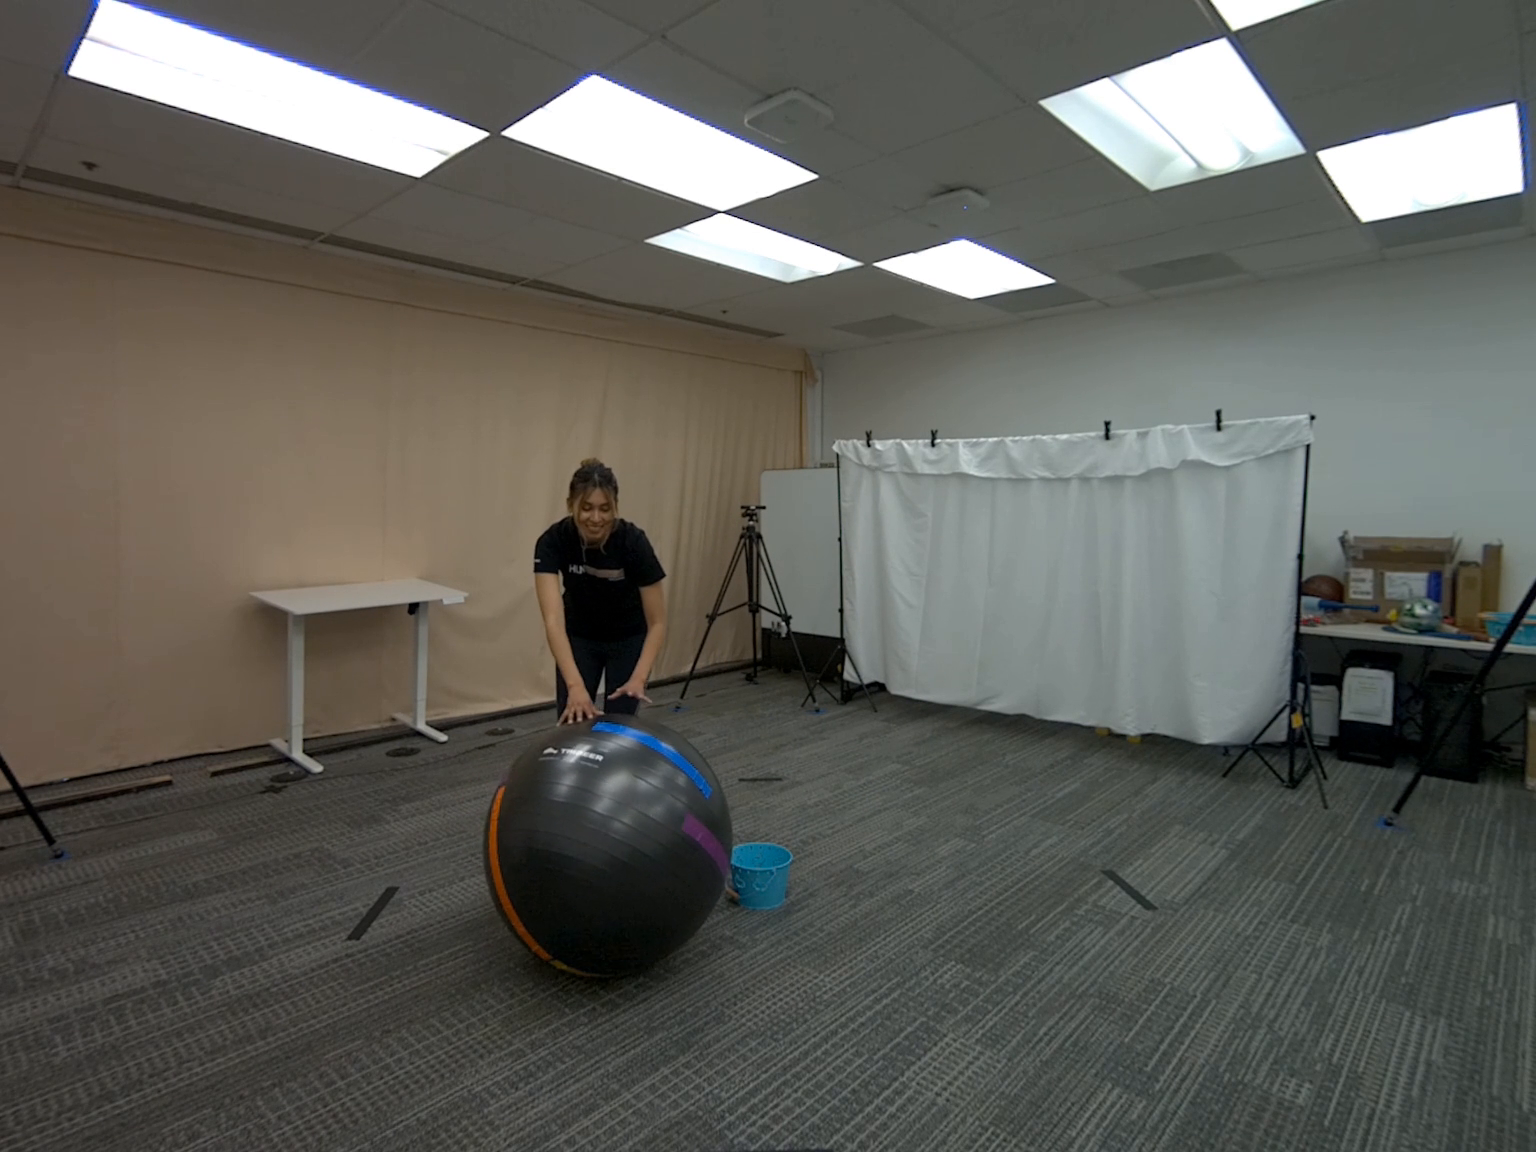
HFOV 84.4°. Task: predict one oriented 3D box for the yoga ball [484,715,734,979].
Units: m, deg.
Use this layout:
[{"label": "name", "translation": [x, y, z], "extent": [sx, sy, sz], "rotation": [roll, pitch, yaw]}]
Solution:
[{"label": "yoga ball", "translation": [-0.488, 0.818, 2.591], "extent": [0.757, 0.756, 0.760], "rotation": [0, 4, -2]}]
